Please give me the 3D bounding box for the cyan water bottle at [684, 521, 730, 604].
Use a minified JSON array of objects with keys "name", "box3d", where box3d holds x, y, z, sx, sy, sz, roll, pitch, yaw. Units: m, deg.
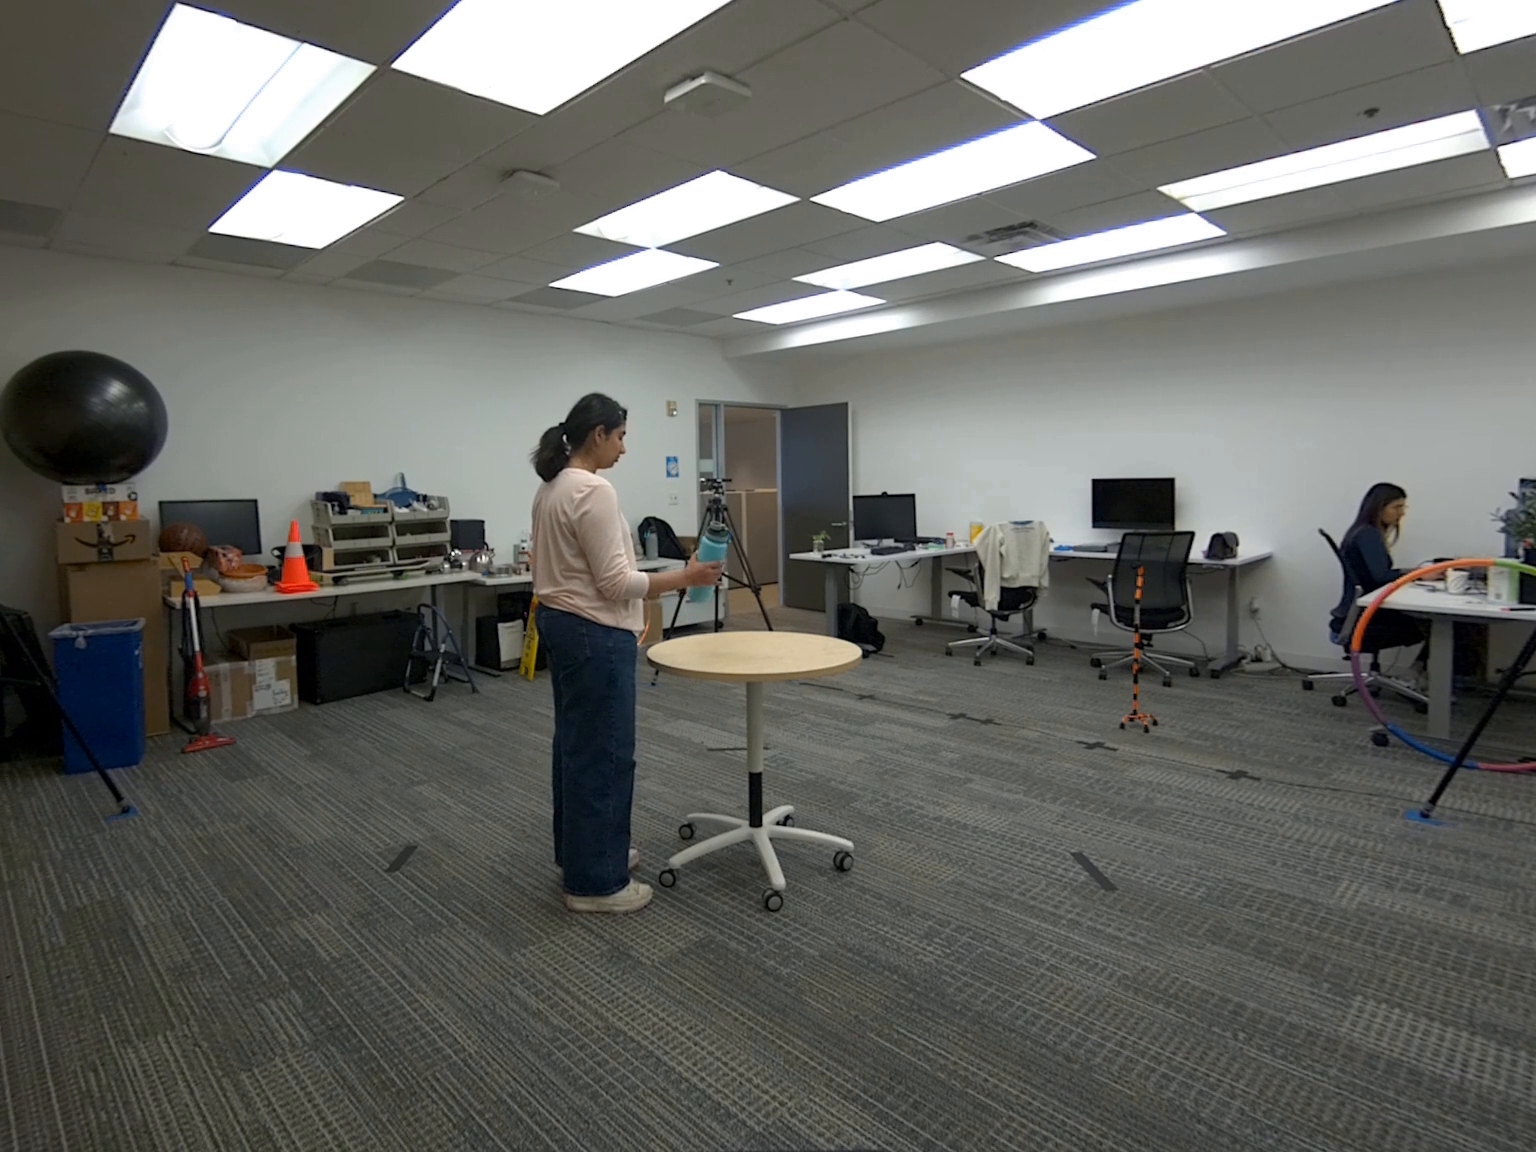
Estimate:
[{"name":"cyan water bottle","box3d":[-0.204,-0.038,2.895,0.092,0.281,0.094,16,17,-7]}]
